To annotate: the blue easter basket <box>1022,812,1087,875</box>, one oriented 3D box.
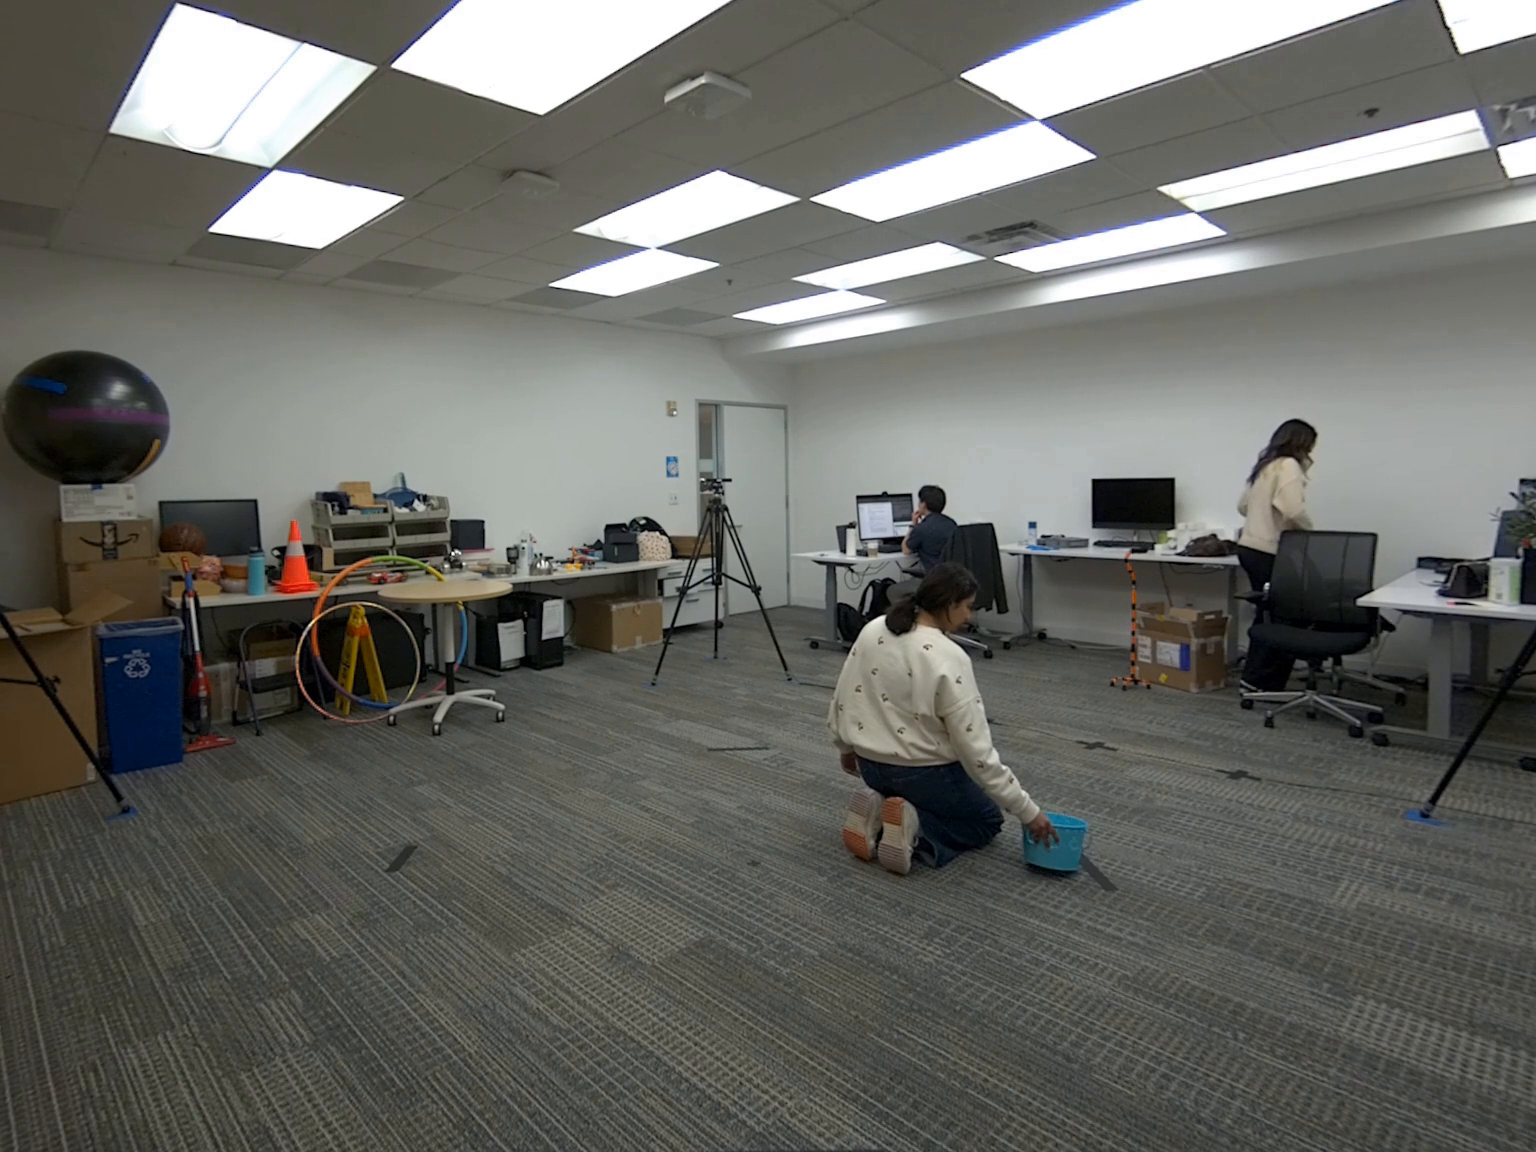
[{"bbox_3d":[1.008,0.928,3.027,0.243,0.156,0.243,4,-2,-1],"label":"blue easter basket"}]
